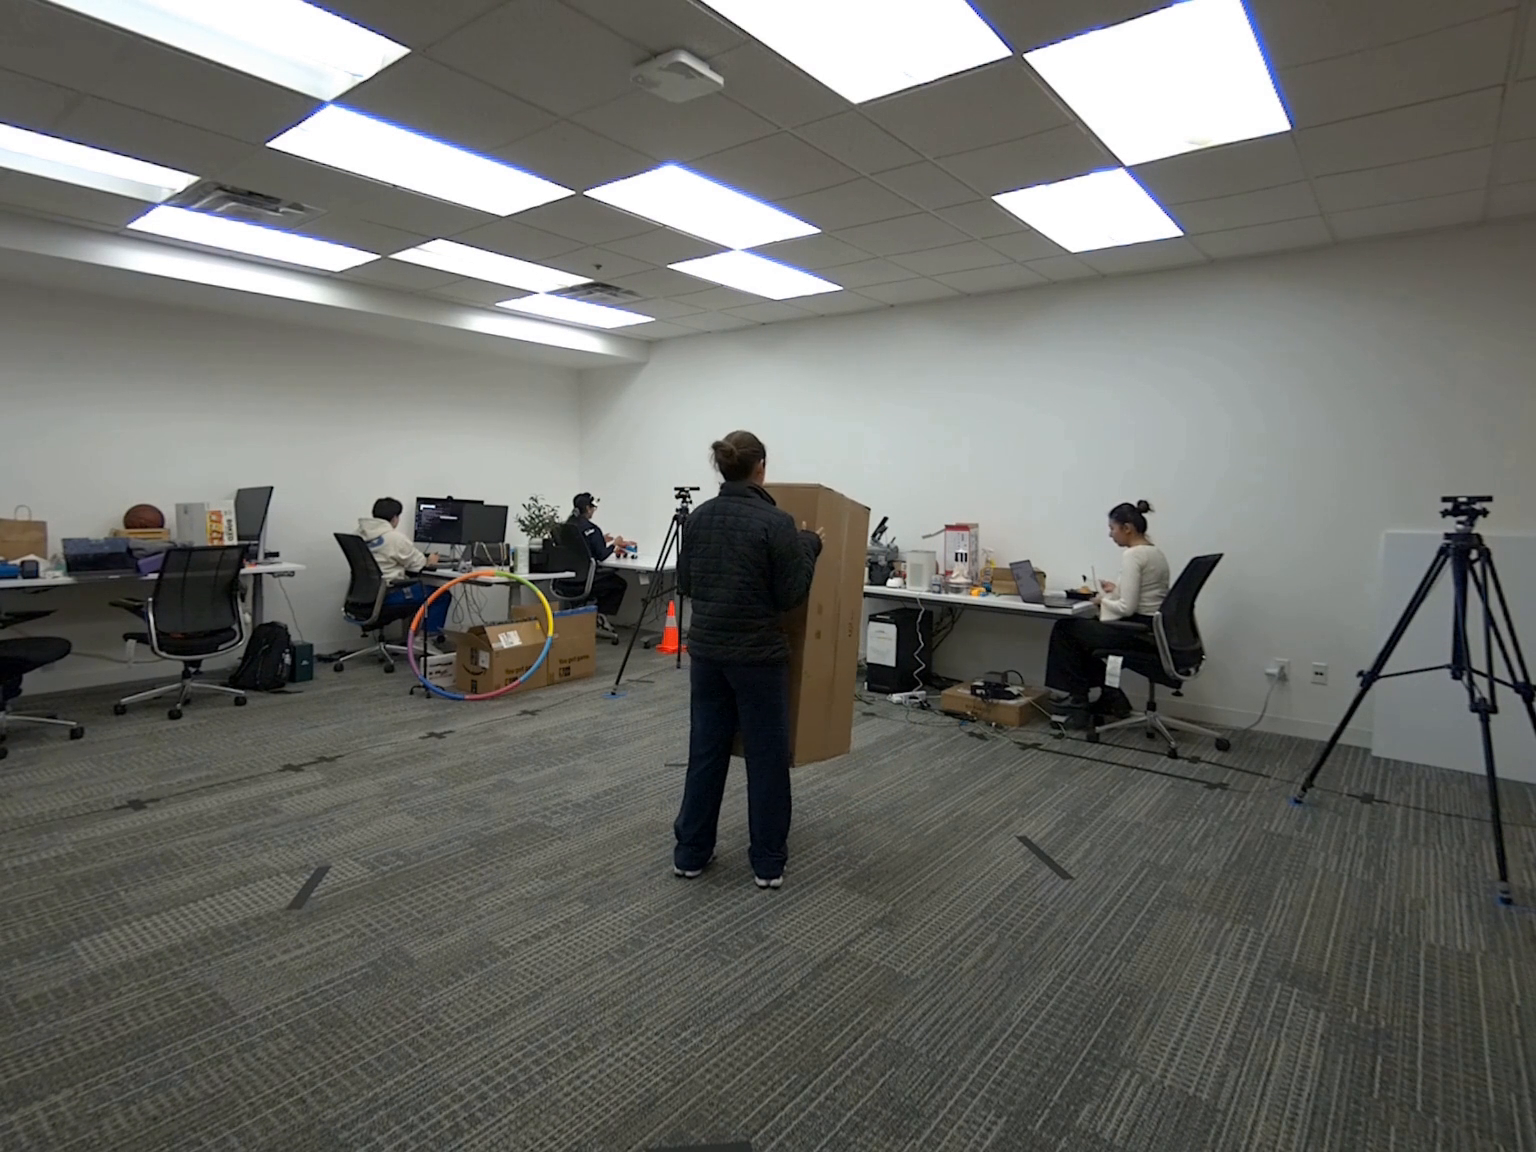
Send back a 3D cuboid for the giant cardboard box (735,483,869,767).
[{"bbox_3d":[0.090,0.179,3.425,0.438,1.030,0.559,3,-5,29],"label":"giant cardboard box"}]
